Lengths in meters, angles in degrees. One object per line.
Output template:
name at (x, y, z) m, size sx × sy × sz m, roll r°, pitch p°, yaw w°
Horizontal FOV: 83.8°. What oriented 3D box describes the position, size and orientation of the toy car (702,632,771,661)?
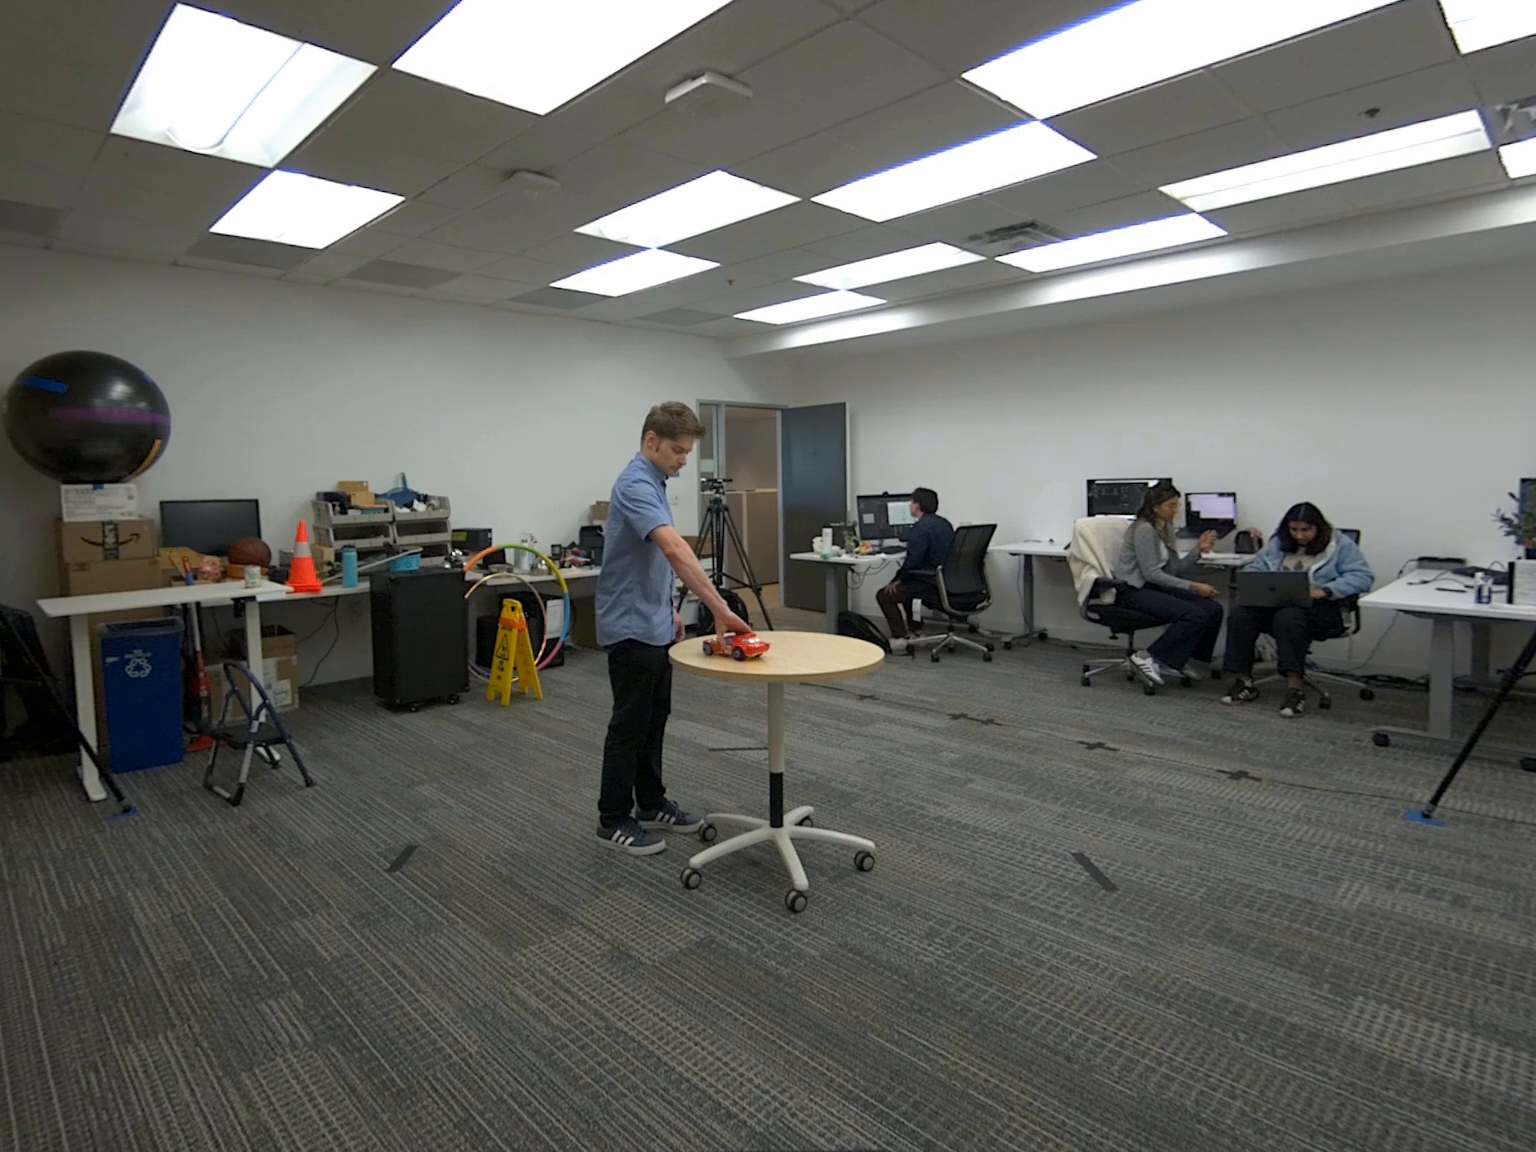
toy car at (-0.100, 0.245, 2.941) m, size 0.260 × 0.083 × 0.127 m, roll -10°, pitch -3°, yaw 43°
